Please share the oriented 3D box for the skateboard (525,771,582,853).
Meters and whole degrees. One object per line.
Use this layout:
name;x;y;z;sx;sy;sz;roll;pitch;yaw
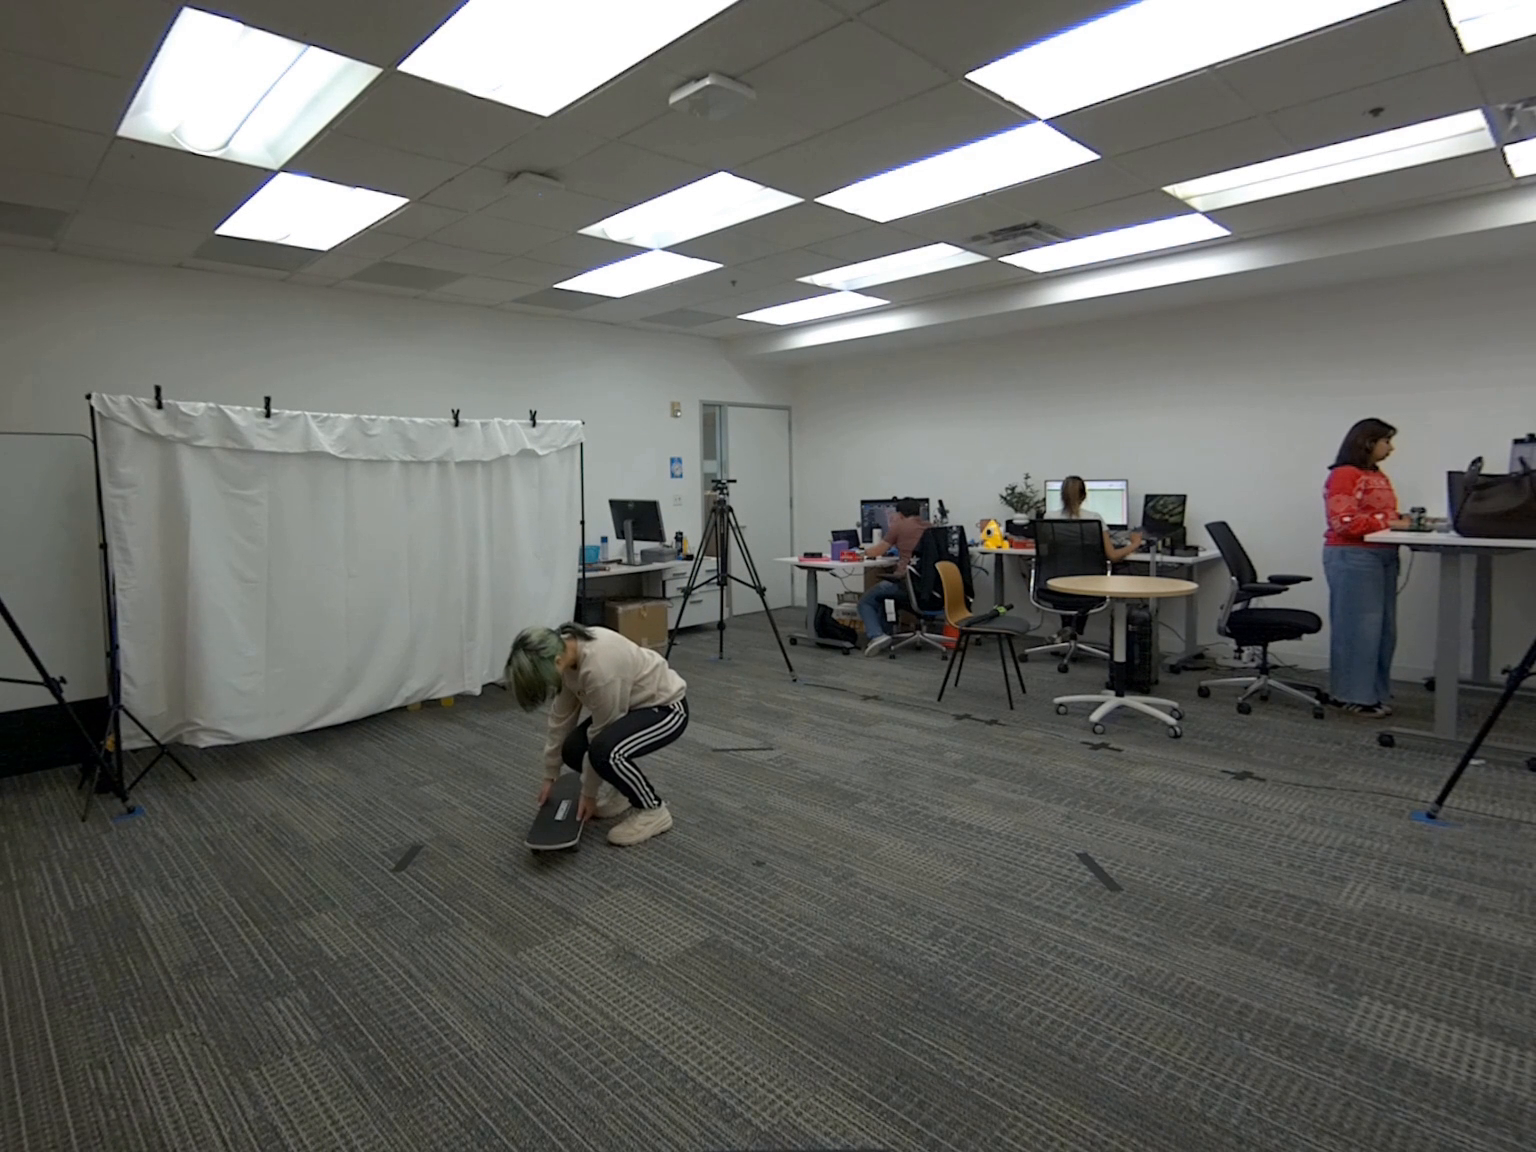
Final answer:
skateboard;-0.825;0.967;3.435;0.193;0.110;0.791;-2;7;-4
